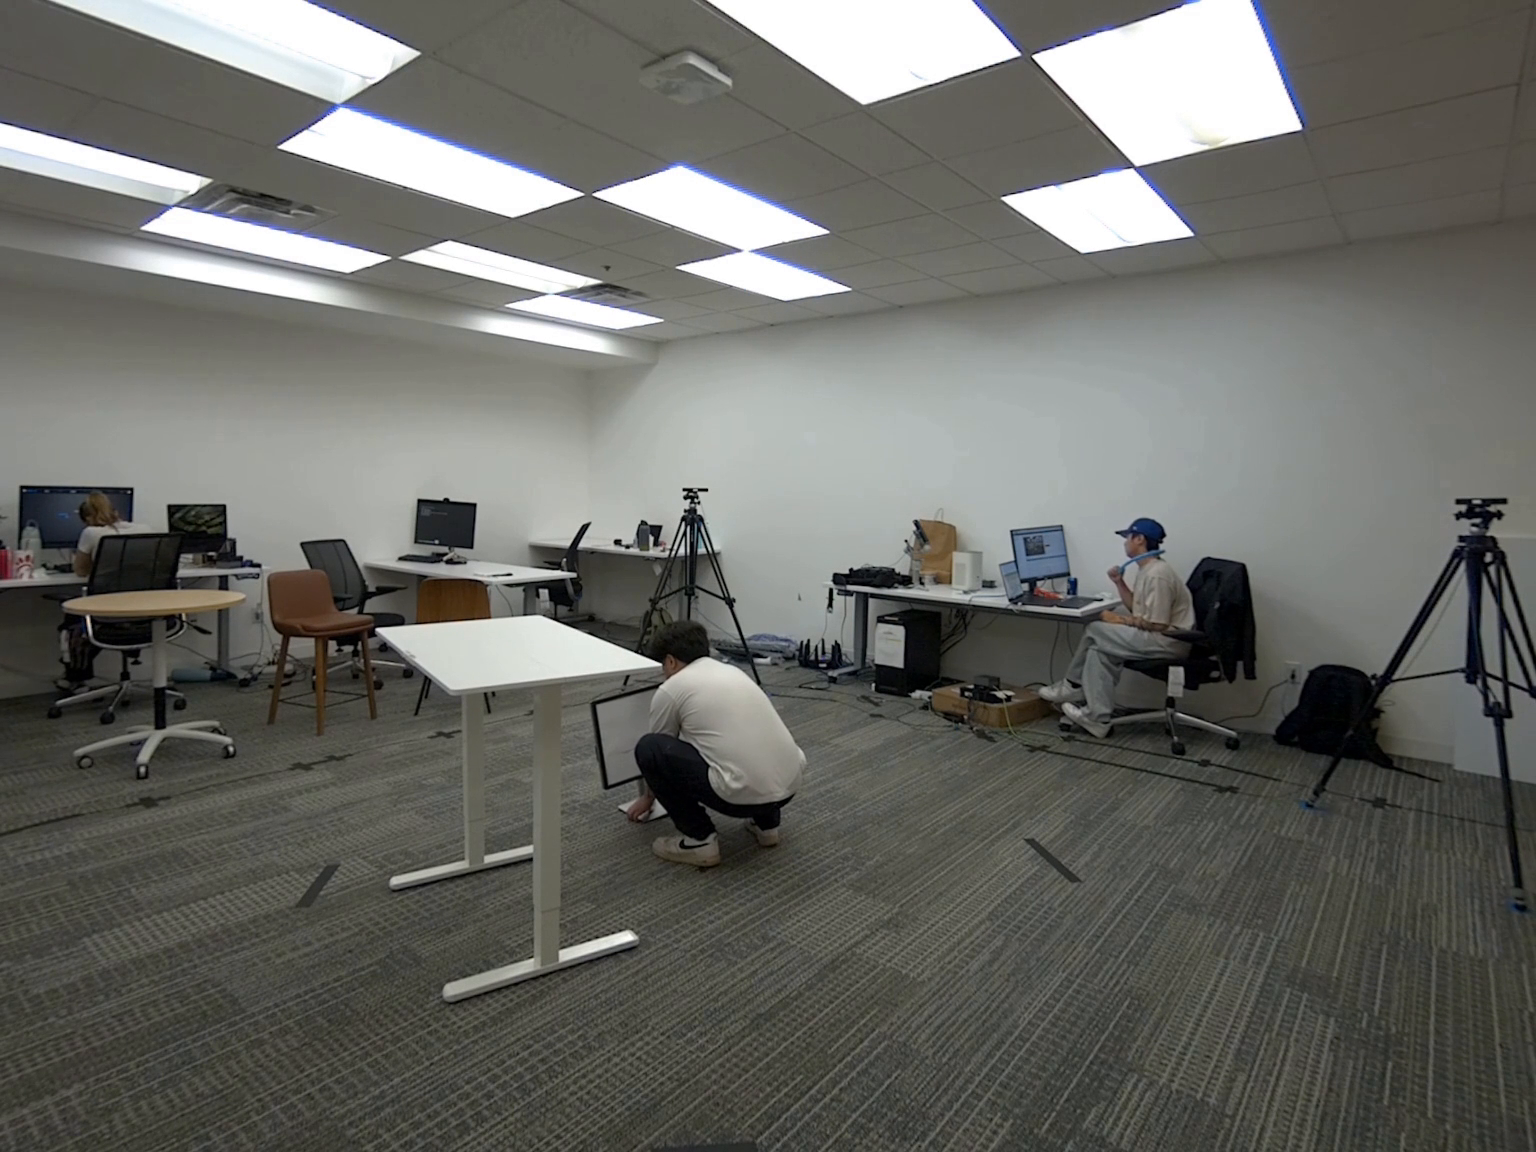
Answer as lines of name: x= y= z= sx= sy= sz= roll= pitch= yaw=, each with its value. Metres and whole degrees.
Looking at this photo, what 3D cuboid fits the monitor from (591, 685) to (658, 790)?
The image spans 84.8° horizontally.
monitor: x=-0.534 y=0.738 z=3.673 sx=0.550 sy=0.553 sz=0.216 roll=-10 pitch=3 yaw=-41
